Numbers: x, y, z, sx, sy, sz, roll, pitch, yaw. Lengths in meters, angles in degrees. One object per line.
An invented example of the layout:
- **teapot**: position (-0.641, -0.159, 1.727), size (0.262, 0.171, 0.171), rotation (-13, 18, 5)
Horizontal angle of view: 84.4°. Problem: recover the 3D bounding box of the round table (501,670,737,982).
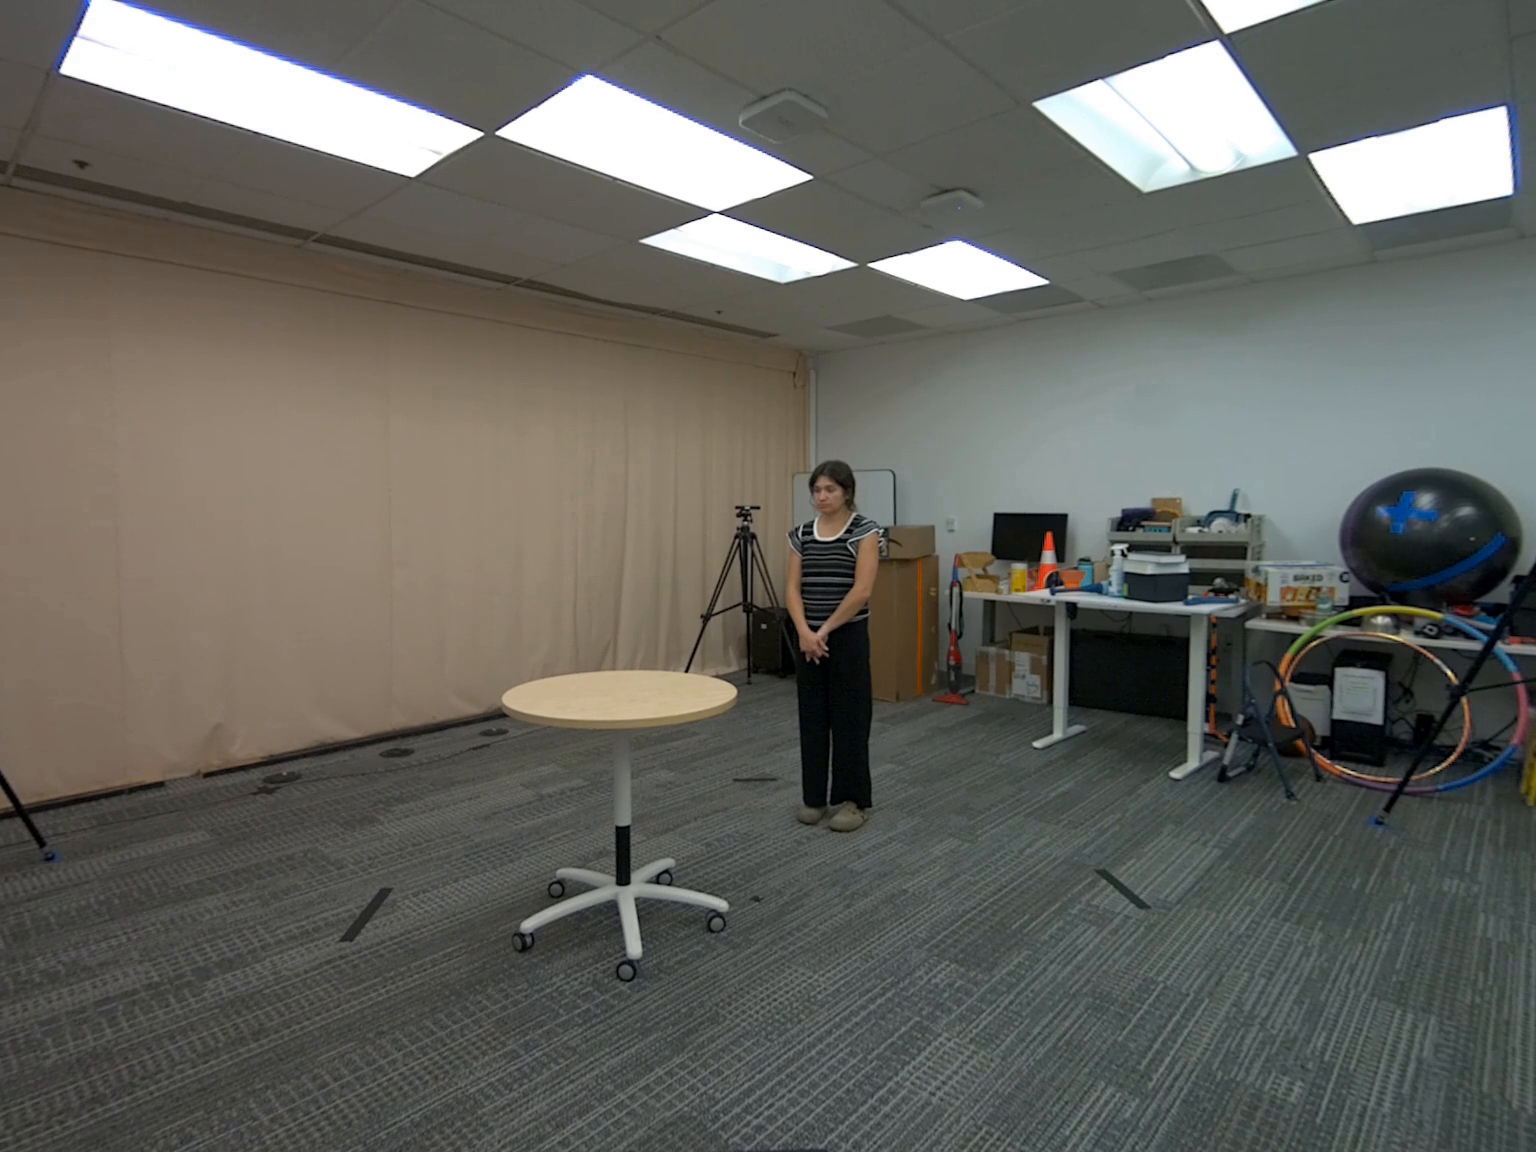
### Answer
- **round table**: position (-0.482, 0.777, 2.784), size (0.763, 0.792, 0.766), rotation (0, 3, -2)
